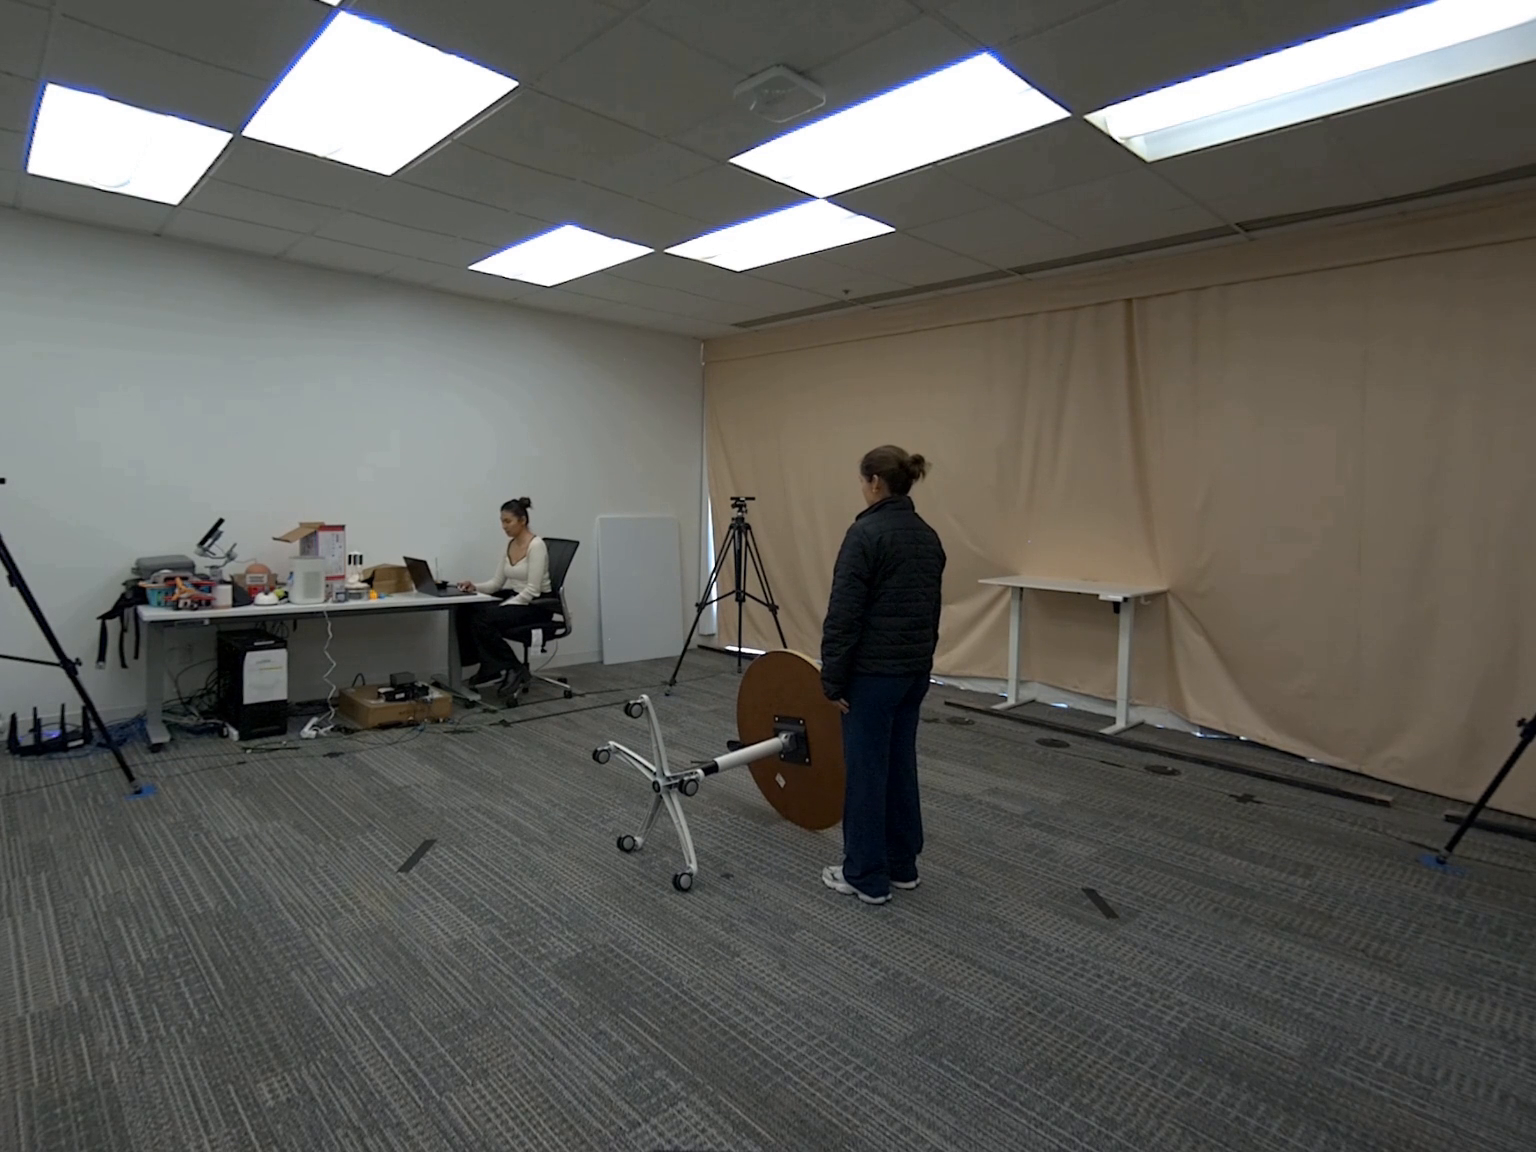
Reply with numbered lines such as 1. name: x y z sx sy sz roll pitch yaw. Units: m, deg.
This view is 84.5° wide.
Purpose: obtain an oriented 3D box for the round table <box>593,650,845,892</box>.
1. round table: -0.179 0.744 3.326 0.771 0.780 0.805 -9 10 -39
